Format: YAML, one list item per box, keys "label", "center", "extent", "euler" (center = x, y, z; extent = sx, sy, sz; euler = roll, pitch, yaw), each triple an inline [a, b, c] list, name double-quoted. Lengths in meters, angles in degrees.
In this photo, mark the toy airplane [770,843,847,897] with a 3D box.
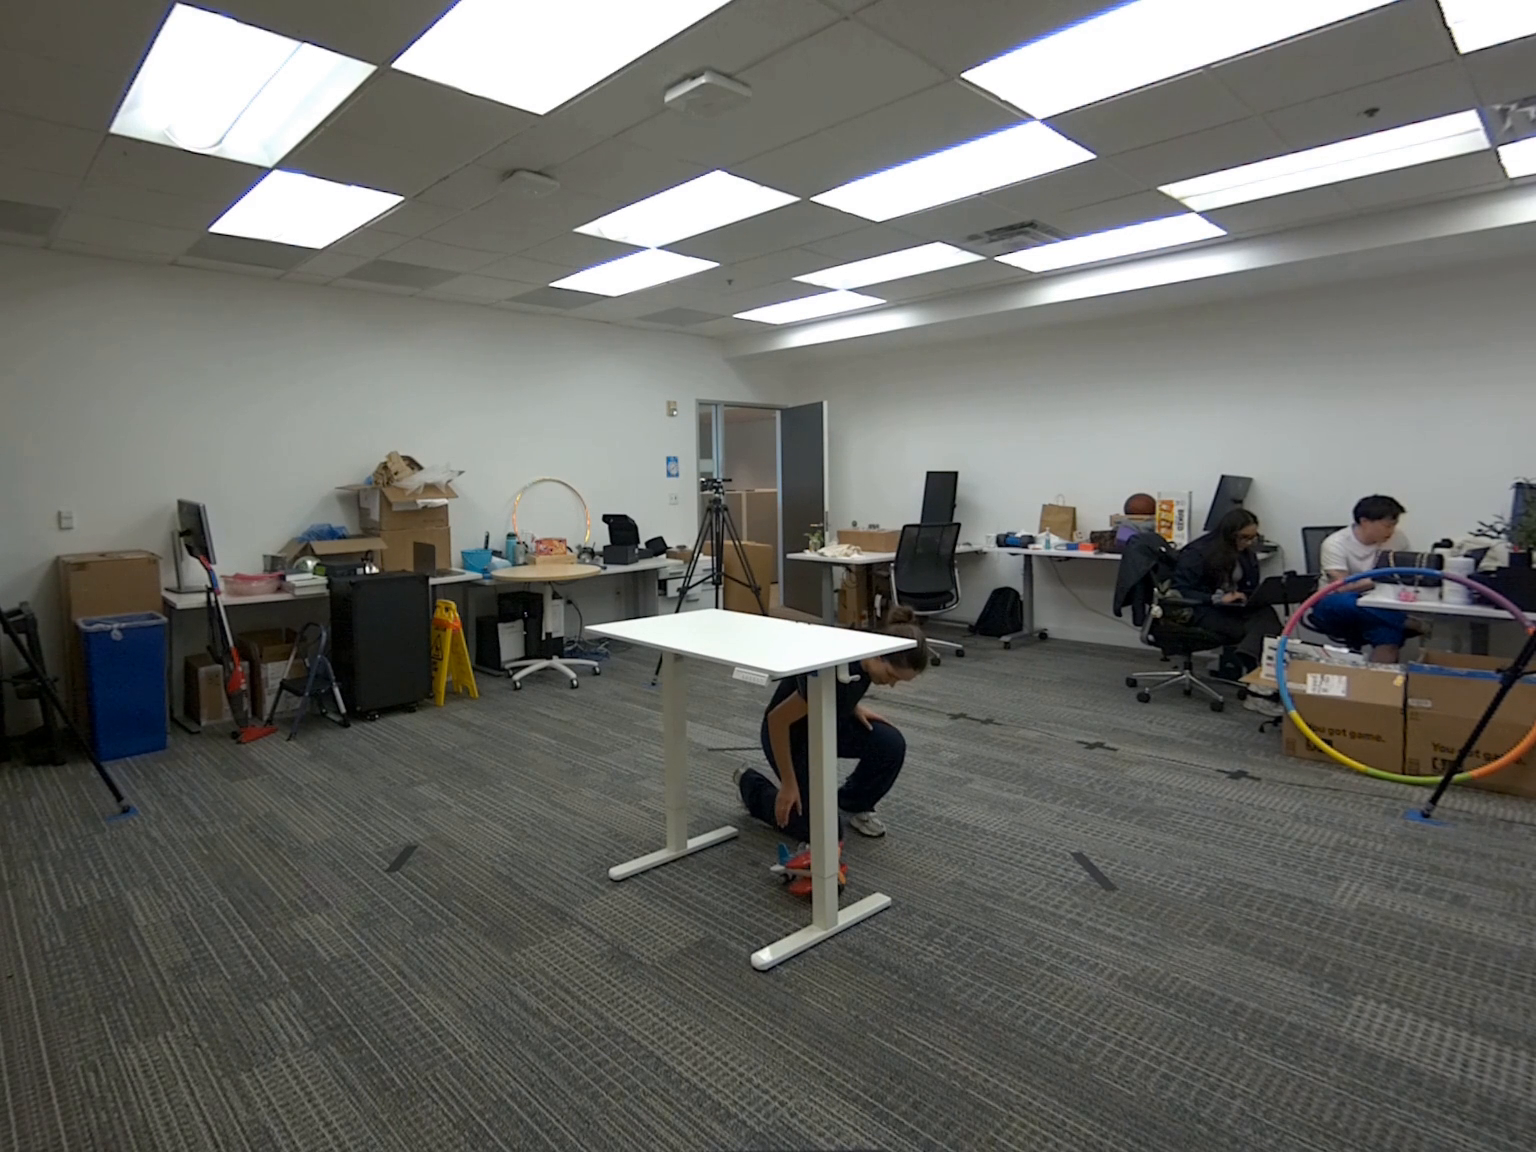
- label: "toy airplane"
  center: [0.130, 0.999, 2.889]
  extent: [0.263, 0.155, 0.248]
  euler: [2, 7, 15]
